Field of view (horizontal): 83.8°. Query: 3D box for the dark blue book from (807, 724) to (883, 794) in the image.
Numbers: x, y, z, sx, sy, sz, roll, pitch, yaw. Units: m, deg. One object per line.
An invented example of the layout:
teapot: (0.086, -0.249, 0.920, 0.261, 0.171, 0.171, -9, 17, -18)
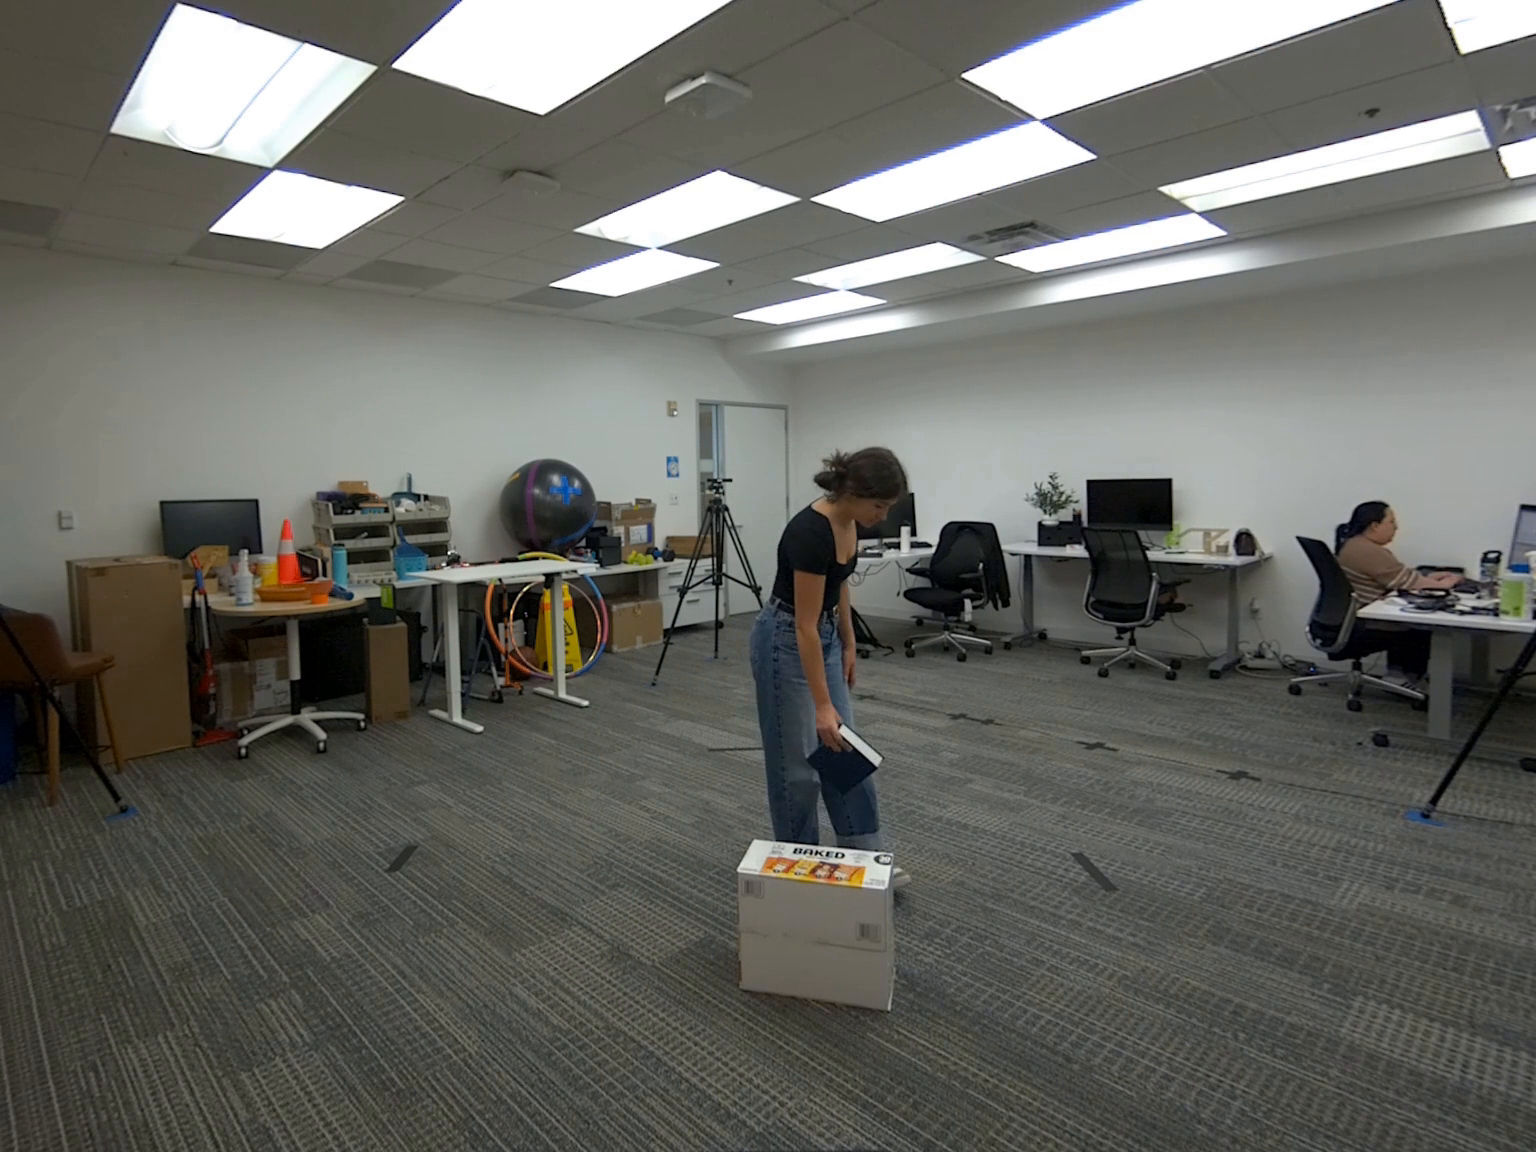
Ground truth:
dark blue book: (0.247, 0.583, 2.662, 0.045, 0.165, 0.243, -40, -11, -40)
